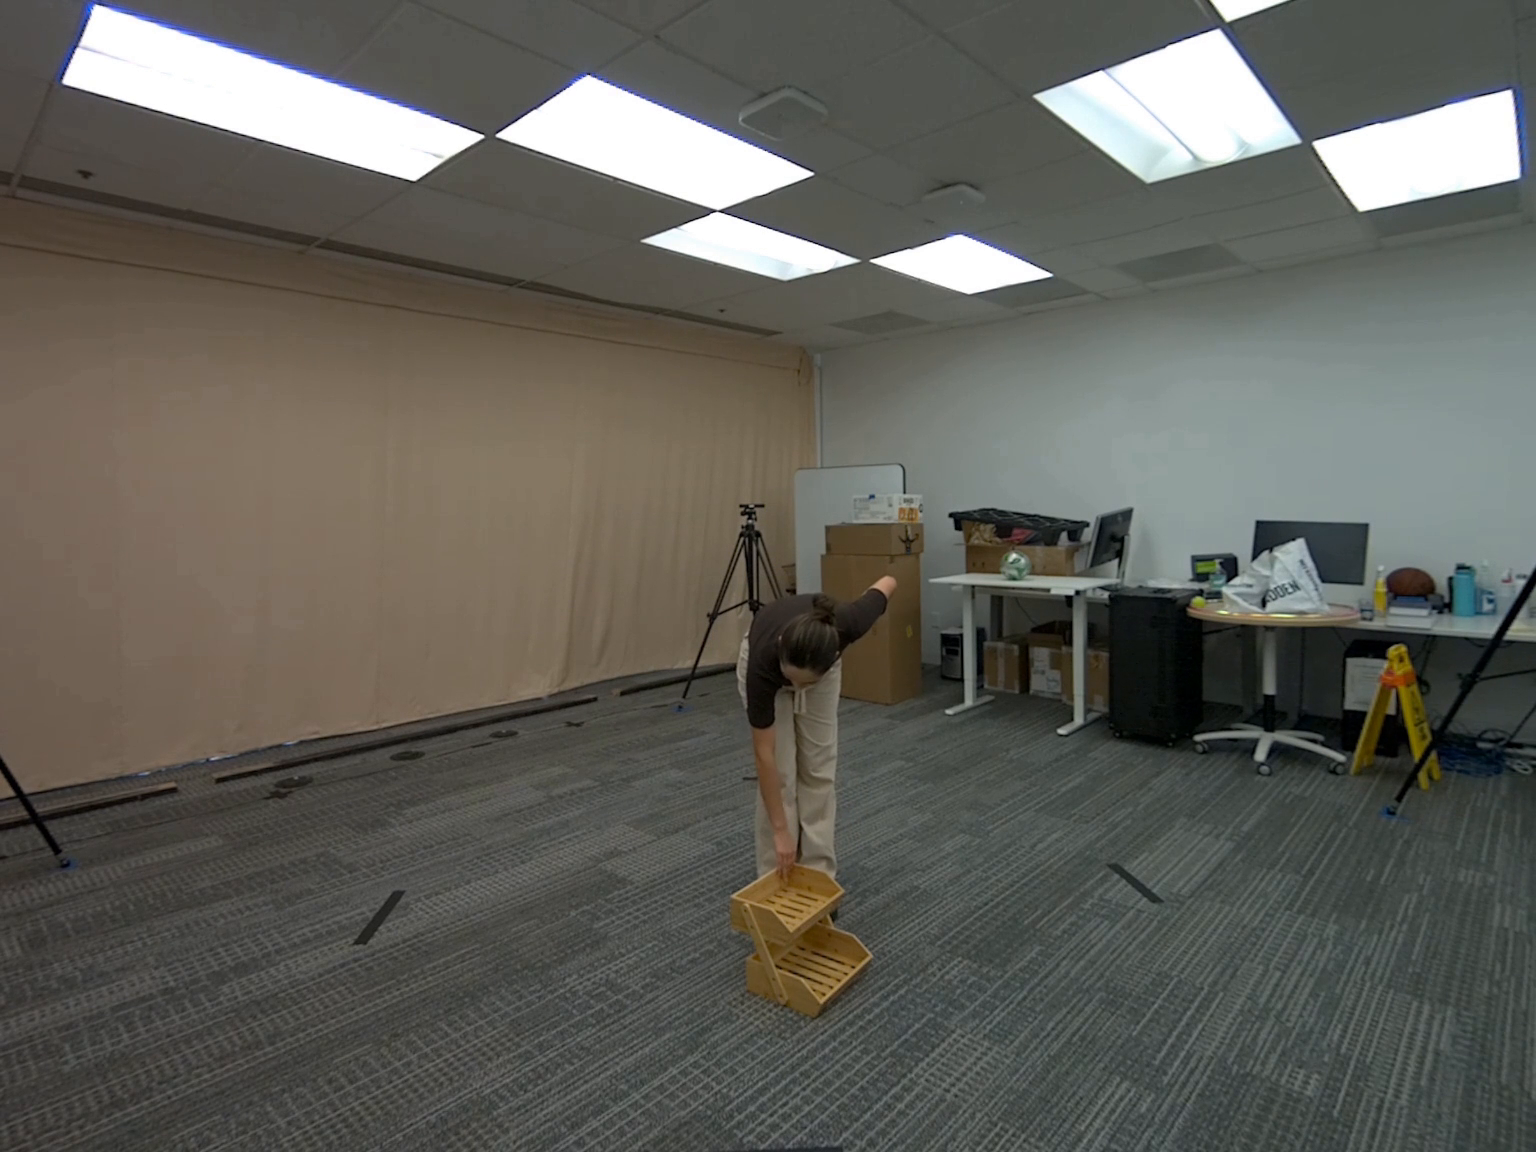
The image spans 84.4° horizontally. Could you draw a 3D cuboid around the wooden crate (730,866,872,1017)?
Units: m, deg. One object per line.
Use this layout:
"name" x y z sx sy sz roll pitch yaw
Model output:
"wooden crate" 0.105 1.043 2.470 0.311 0.273 0.315 1 4 36
